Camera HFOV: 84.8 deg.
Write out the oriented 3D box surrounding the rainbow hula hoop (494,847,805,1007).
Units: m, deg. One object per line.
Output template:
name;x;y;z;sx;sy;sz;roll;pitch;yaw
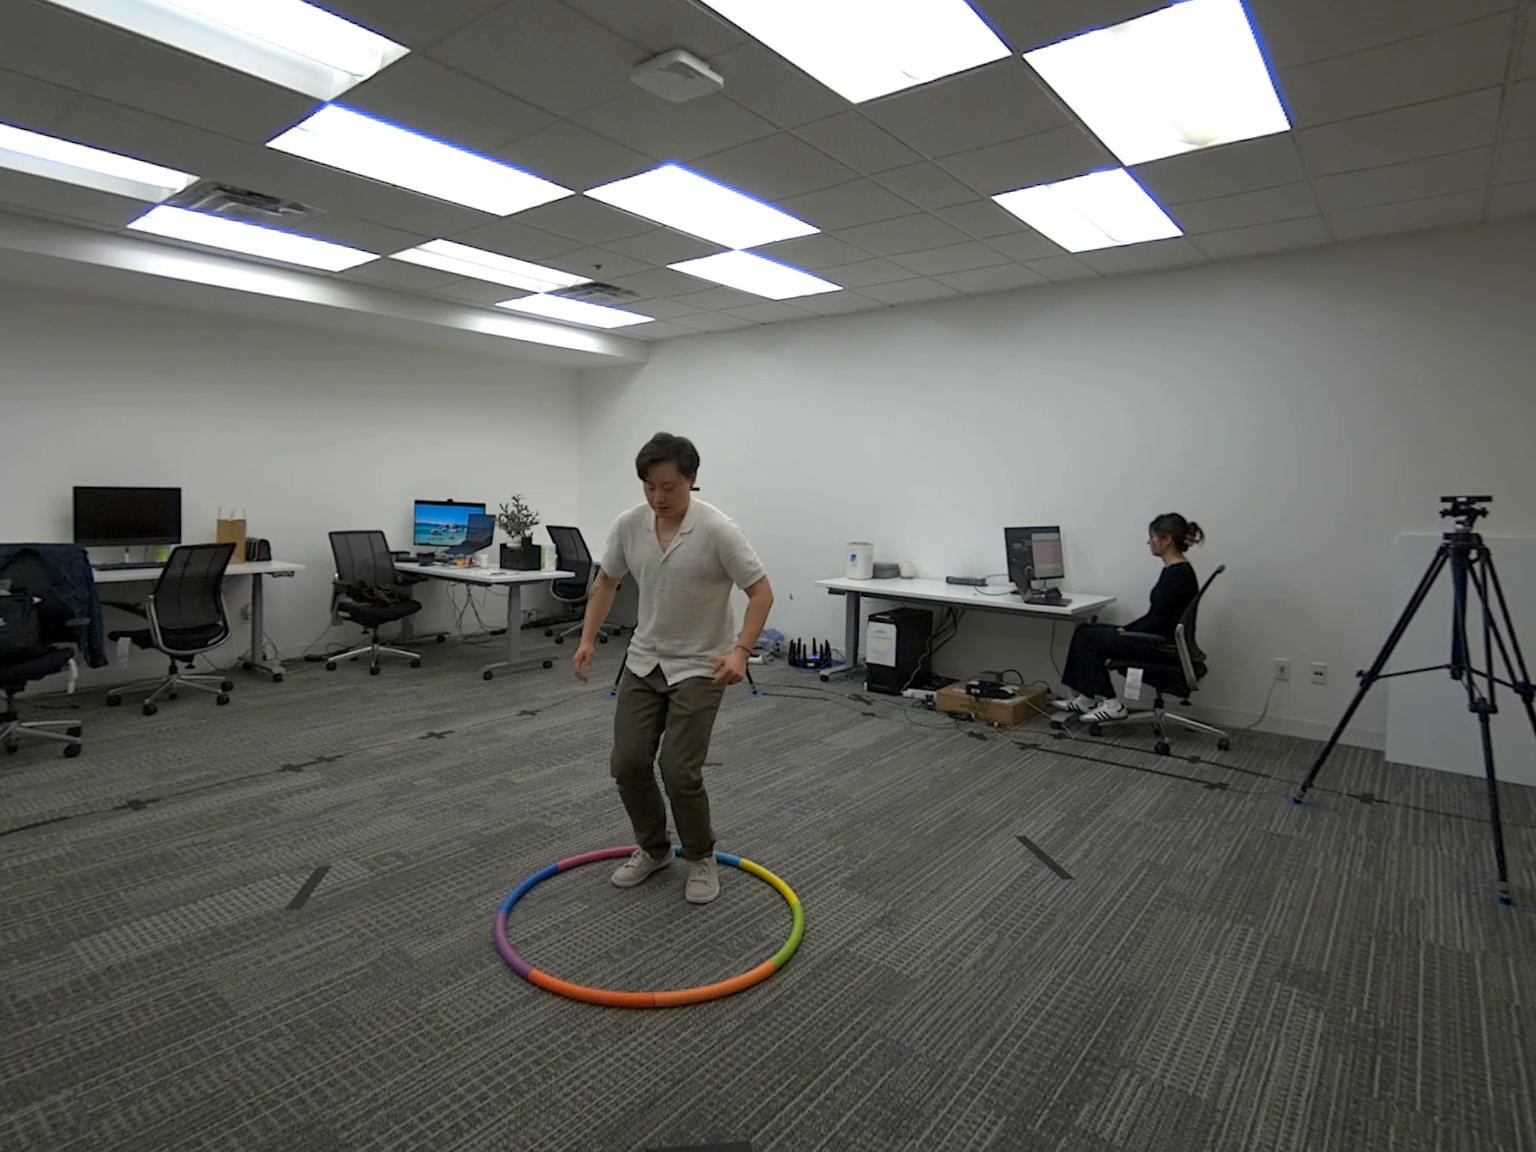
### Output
rainbow hula hoop;-0.384;1.069;2.753;0.978;0.035;0.984;0;5;-2
